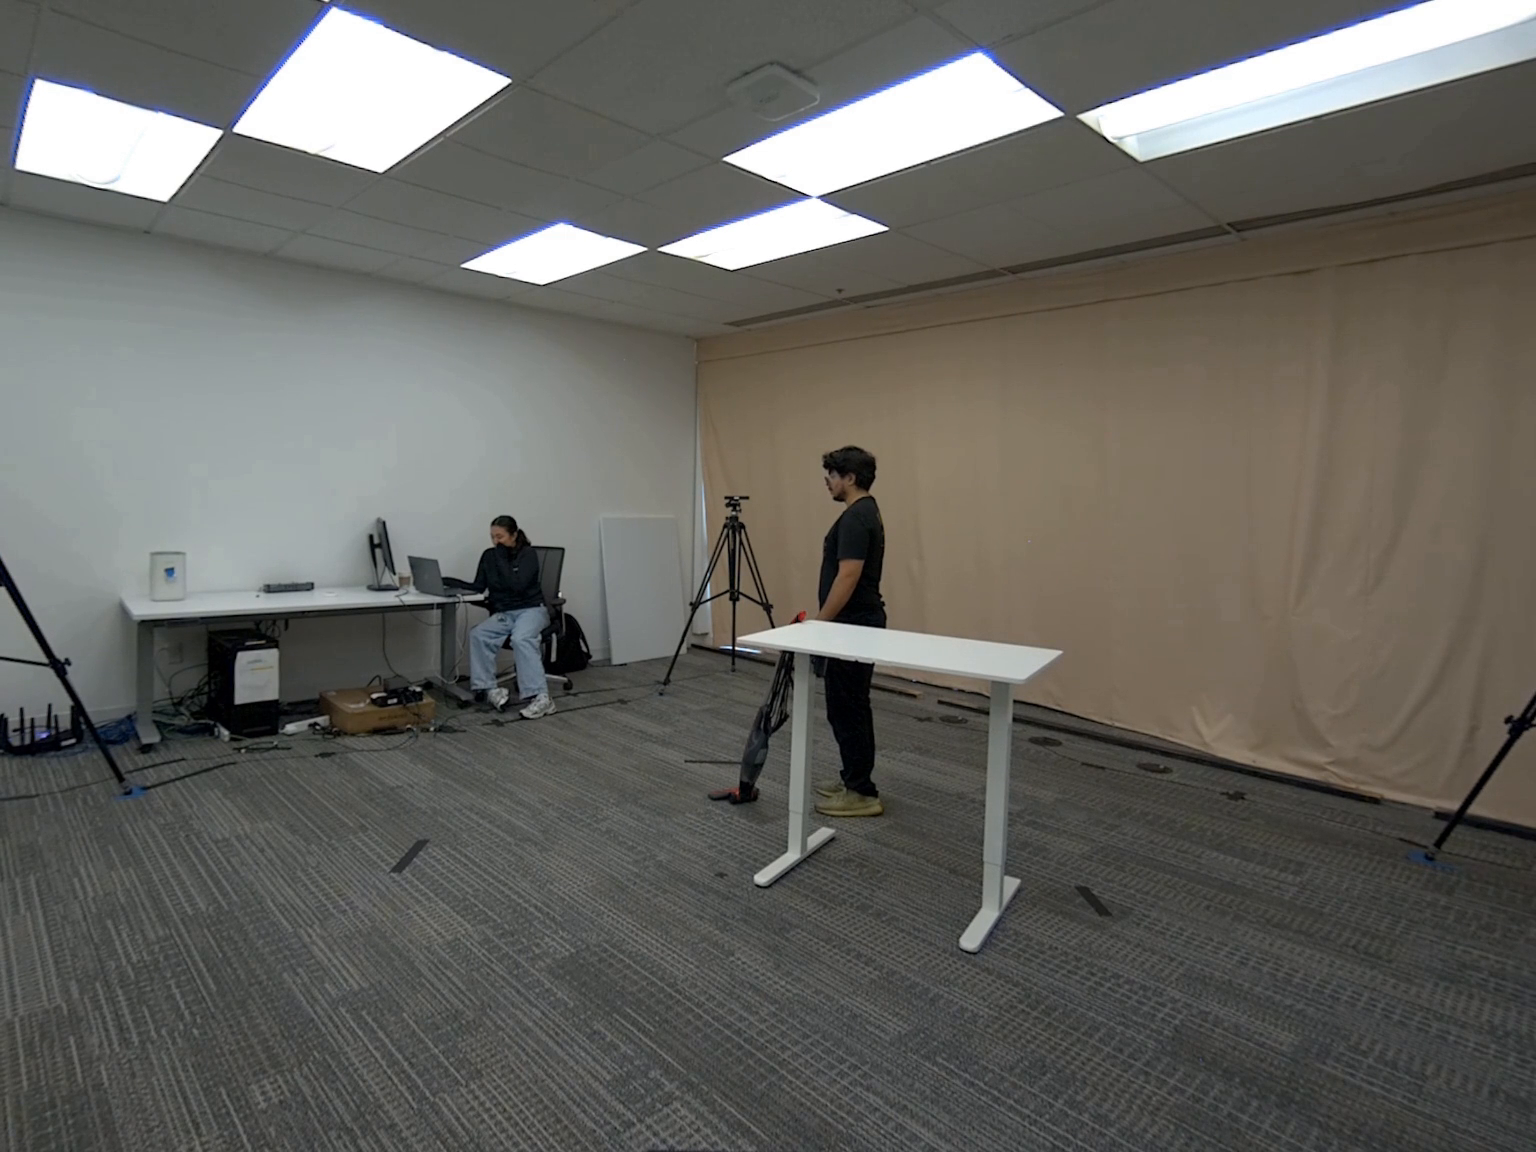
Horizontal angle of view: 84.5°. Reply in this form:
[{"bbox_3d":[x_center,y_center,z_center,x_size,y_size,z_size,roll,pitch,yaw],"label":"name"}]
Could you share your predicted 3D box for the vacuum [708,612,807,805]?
[{"bbox_3d":[-0.005,0.586,3.659,0.247,1.037,0.148,-6,37,-37],"label":"vacuum"}]
